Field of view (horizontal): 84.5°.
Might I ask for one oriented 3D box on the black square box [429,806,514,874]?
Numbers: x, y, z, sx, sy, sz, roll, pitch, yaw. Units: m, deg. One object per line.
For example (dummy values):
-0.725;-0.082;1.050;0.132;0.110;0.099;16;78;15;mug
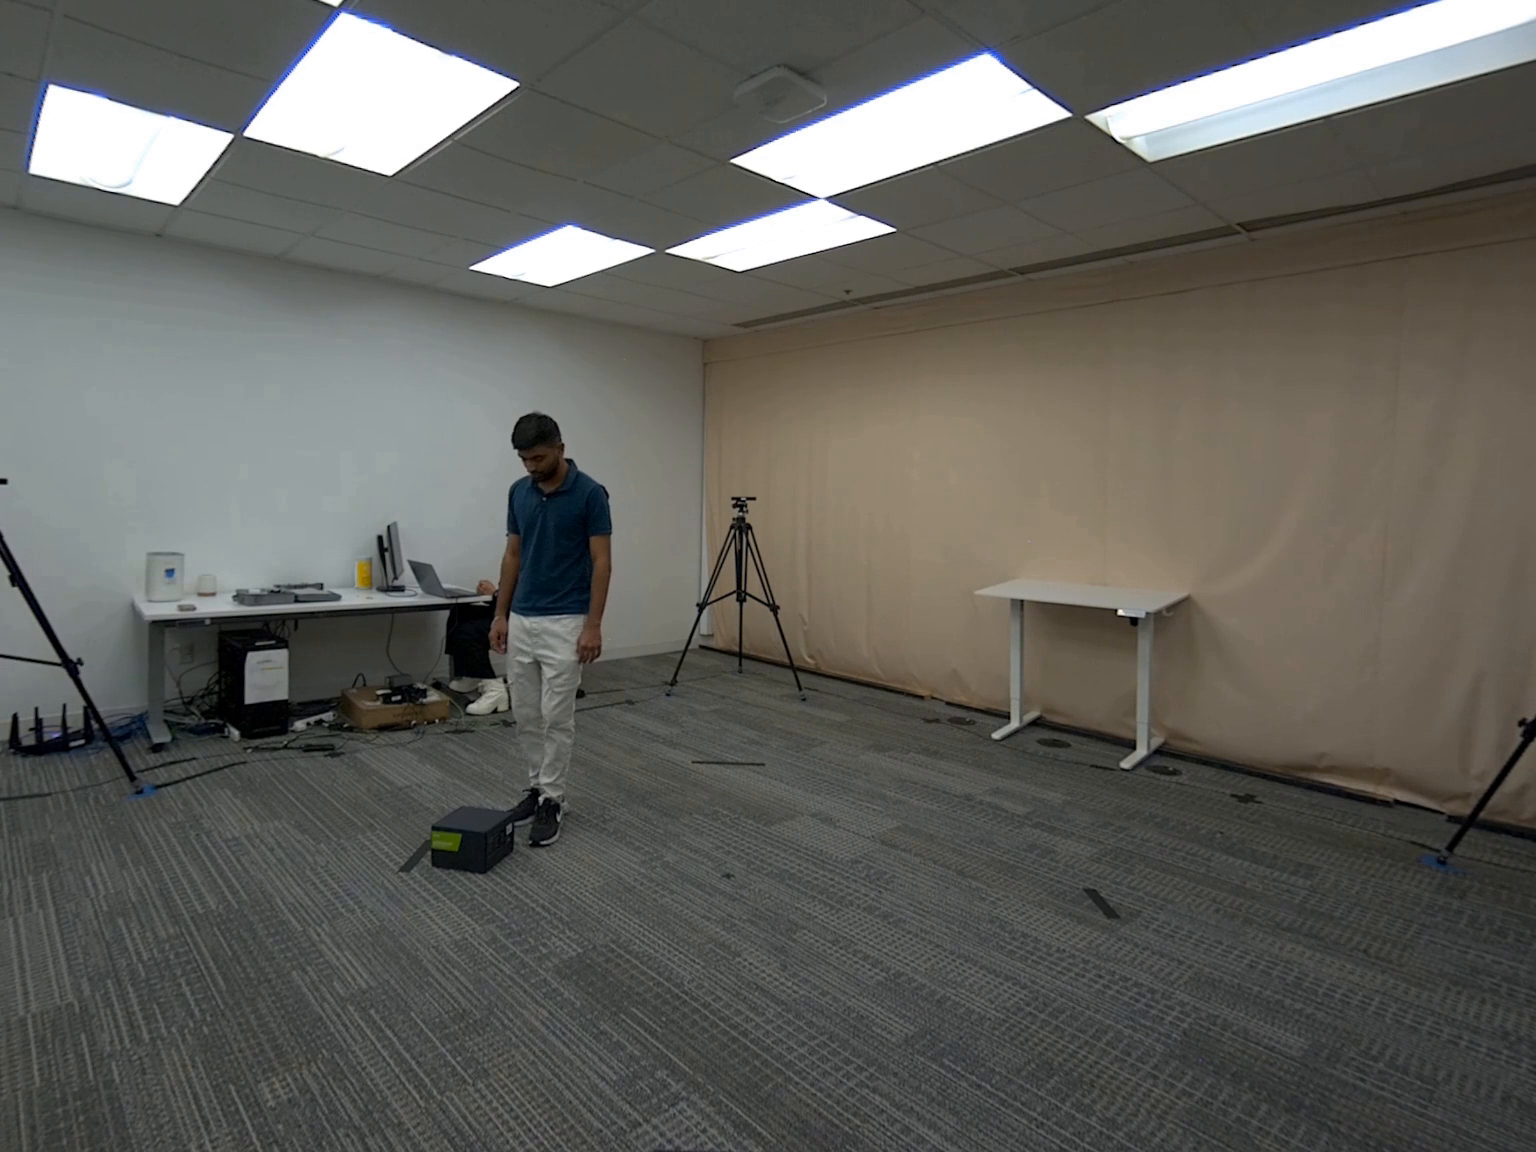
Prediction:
-1.134;0.996;3.195;0.230;0.155;0.215;3;5;12;black square box
